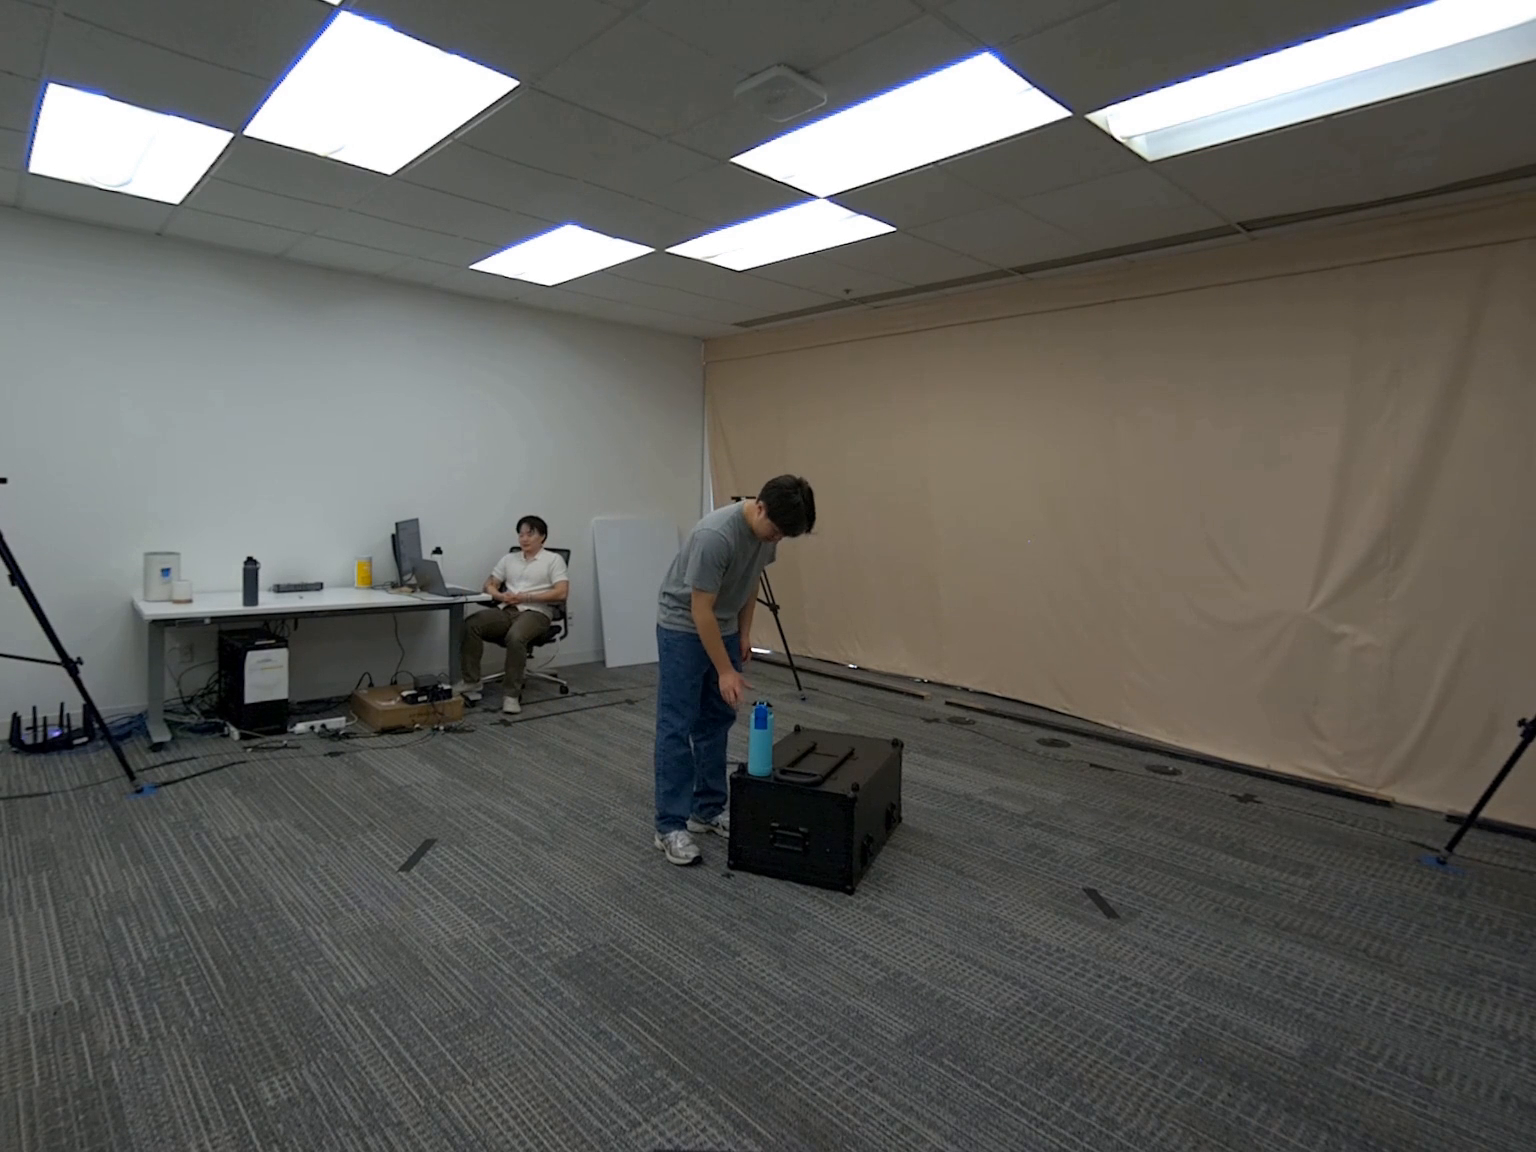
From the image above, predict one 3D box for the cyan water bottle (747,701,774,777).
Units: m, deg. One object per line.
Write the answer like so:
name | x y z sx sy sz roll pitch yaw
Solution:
cyan water bottle | -0.031 0.604 3.169 0.092 0.283 0.092 4 2 -2
